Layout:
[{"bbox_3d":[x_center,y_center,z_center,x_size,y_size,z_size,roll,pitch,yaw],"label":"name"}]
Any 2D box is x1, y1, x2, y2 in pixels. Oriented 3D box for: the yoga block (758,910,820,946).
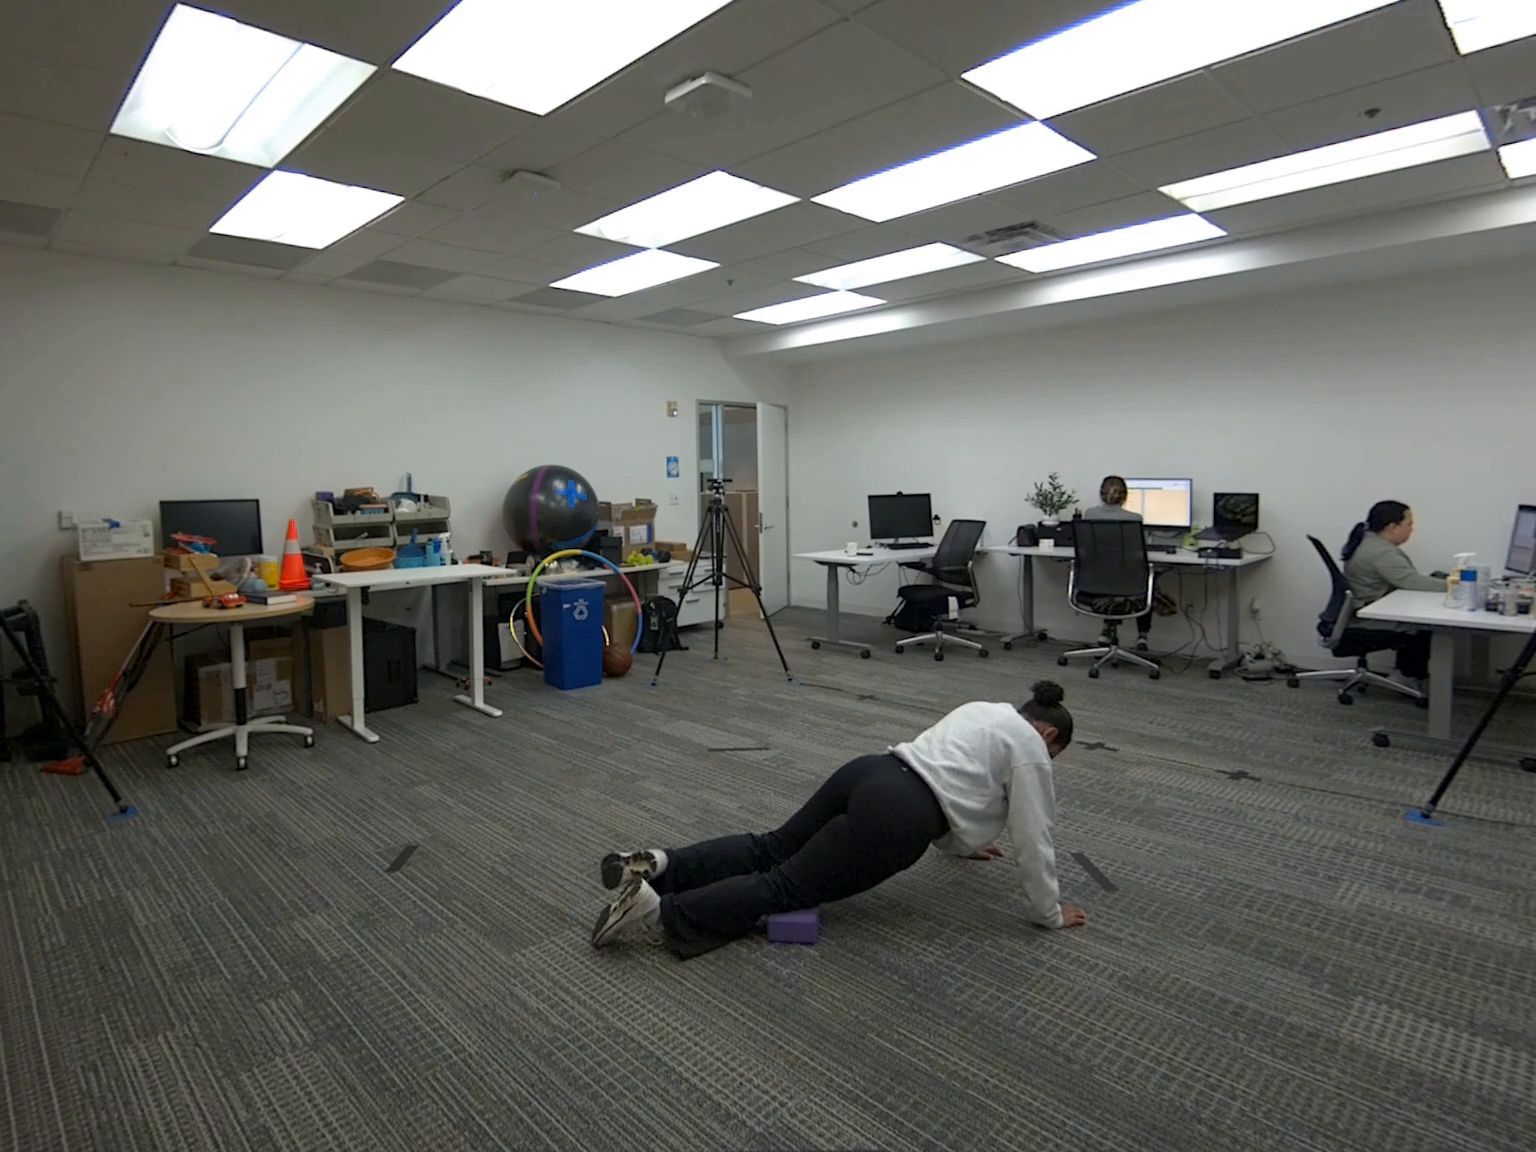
[{"bbox_3d":[0.076,1.049,2.677,0.150,0.076,0.229,-3,6,7],"label":"yoga block"}]
